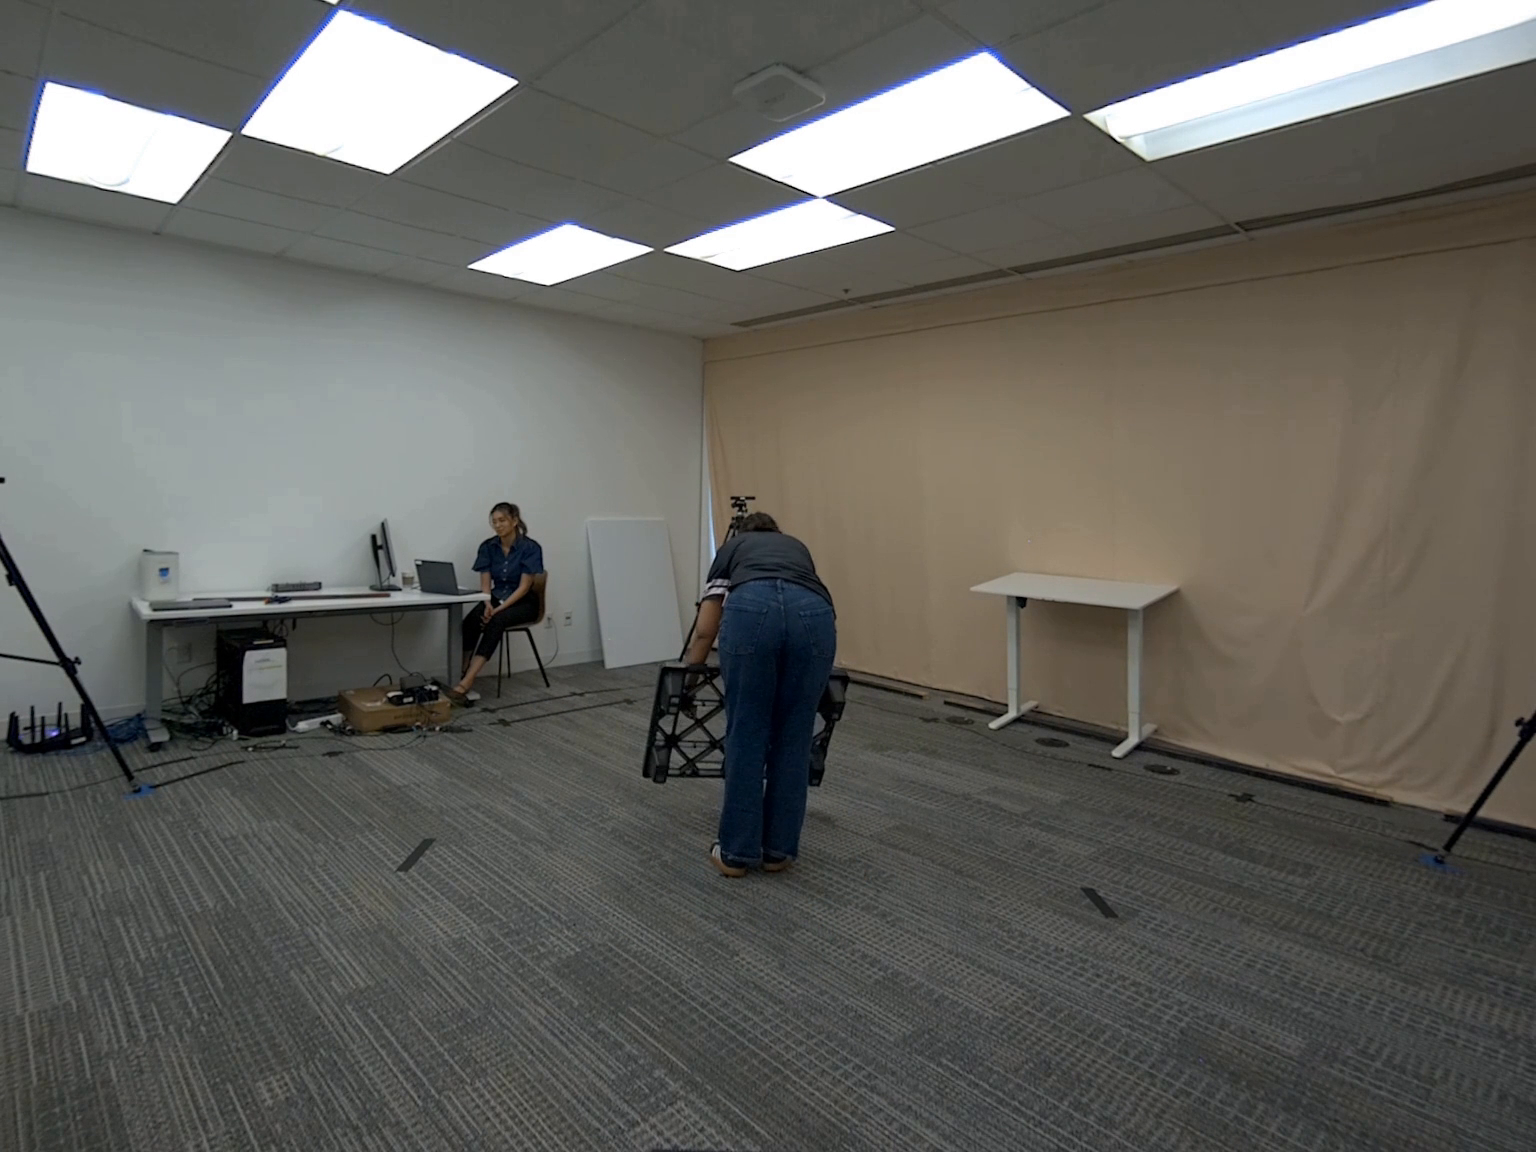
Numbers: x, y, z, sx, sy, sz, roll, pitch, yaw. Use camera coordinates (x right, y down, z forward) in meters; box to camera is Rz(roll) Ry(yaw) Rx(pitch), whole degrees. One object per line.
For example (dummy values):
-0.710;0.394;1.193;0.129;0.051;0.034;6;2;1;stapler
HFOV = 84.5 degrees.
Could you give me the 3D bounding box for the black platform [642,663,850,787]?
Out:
-0.103;0.658;3.531;0.797;0.596;0.147;4;28;-12;black platform
